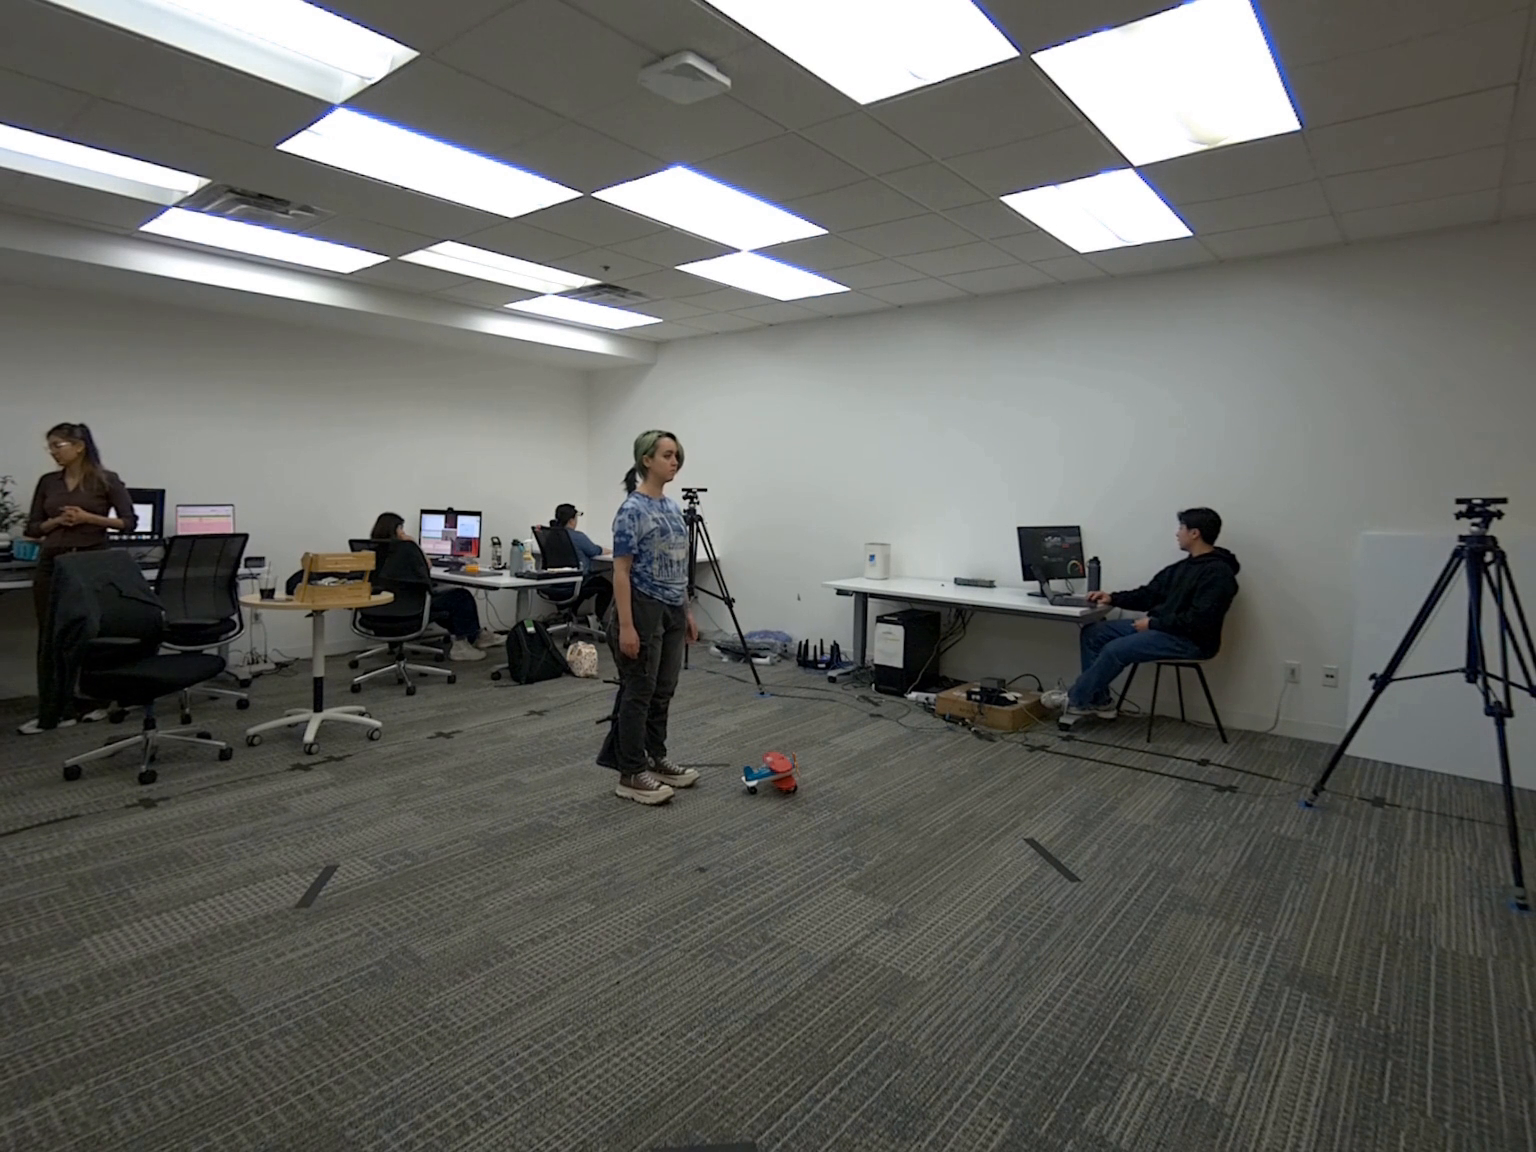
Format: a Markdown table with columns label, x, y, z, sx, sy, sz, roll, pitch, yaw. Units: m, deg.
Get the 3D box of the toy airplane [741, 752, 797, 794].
| label | x | y | z | sx | sy | sz | roll | pitch | yaw |
| --- | --- | --- | --- | --- | --- | --- | --- | --- | --- |
| toy airplane | 0.010 | 0.925 | 3.915 | 0.251 | 0.156 | 0.260 | -2 | 5 | -45 |
